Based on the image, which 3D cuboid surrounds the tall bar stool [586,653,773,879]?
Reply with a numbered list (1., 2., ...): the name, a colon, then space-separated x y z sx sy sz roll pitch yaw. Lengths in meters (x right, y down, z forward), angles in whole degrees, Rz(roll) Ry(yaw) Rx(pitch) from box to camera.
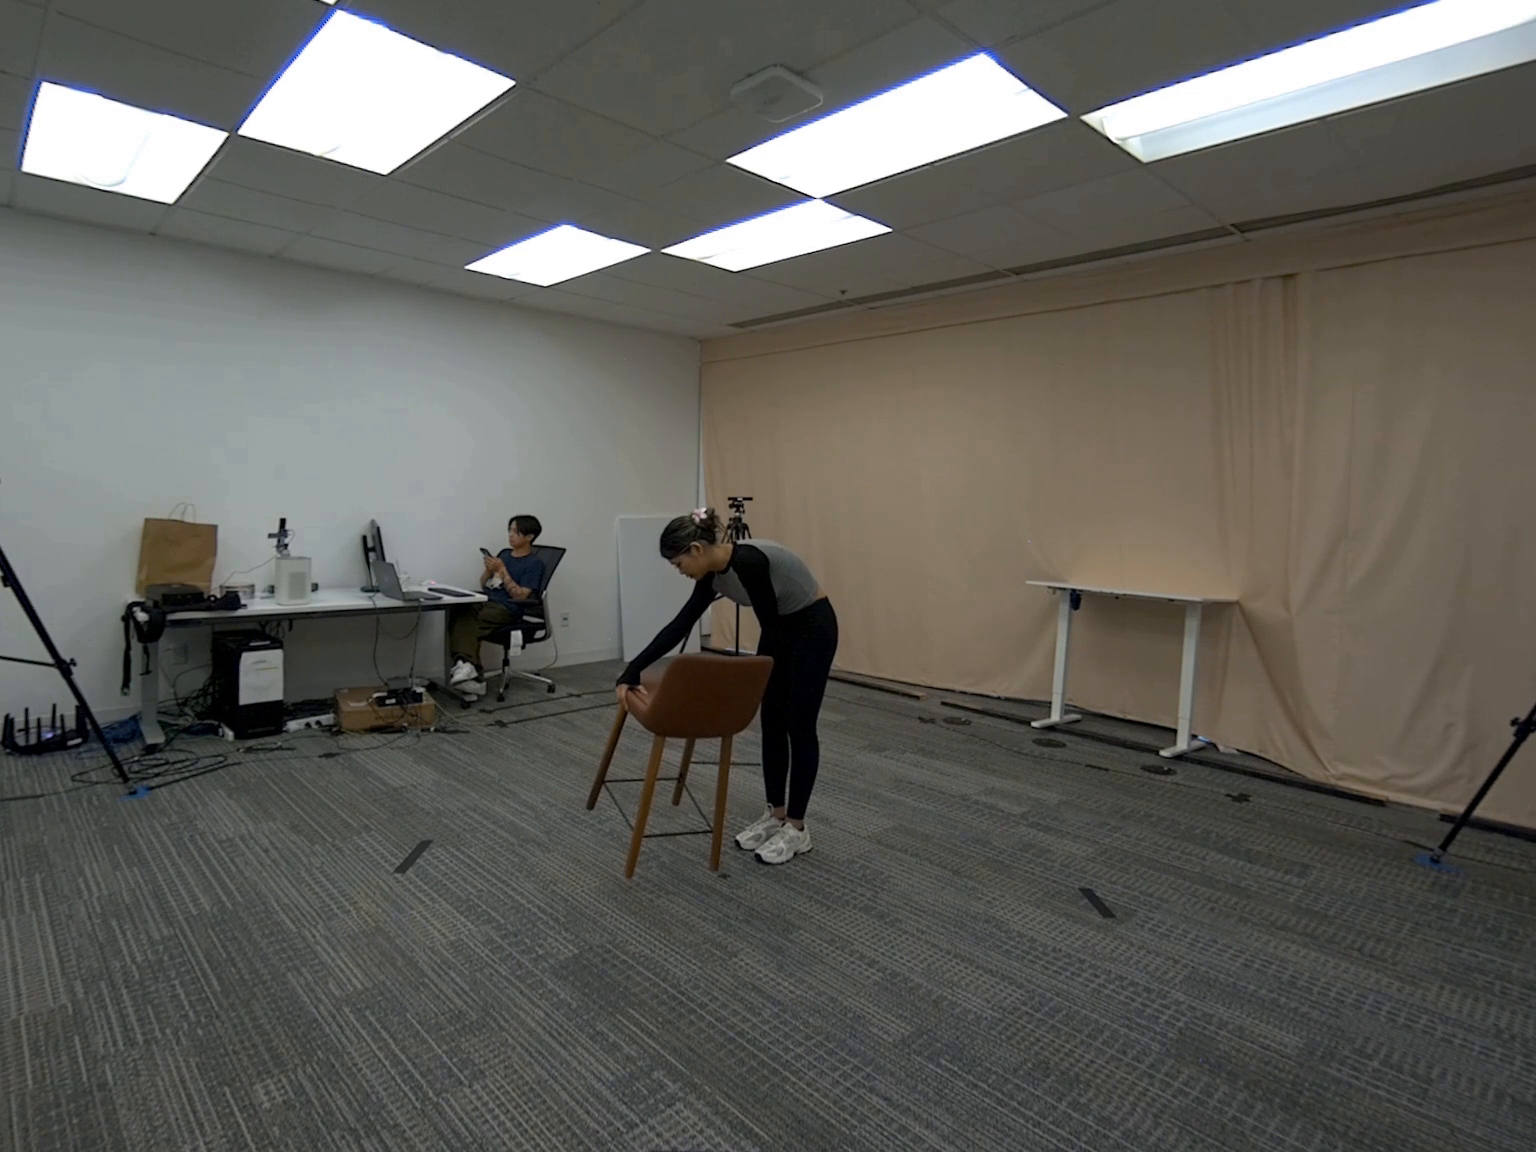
1. tall bar stool: -0.356 0.611 3.157 0.446 0.884 0.481 6 15 -31
